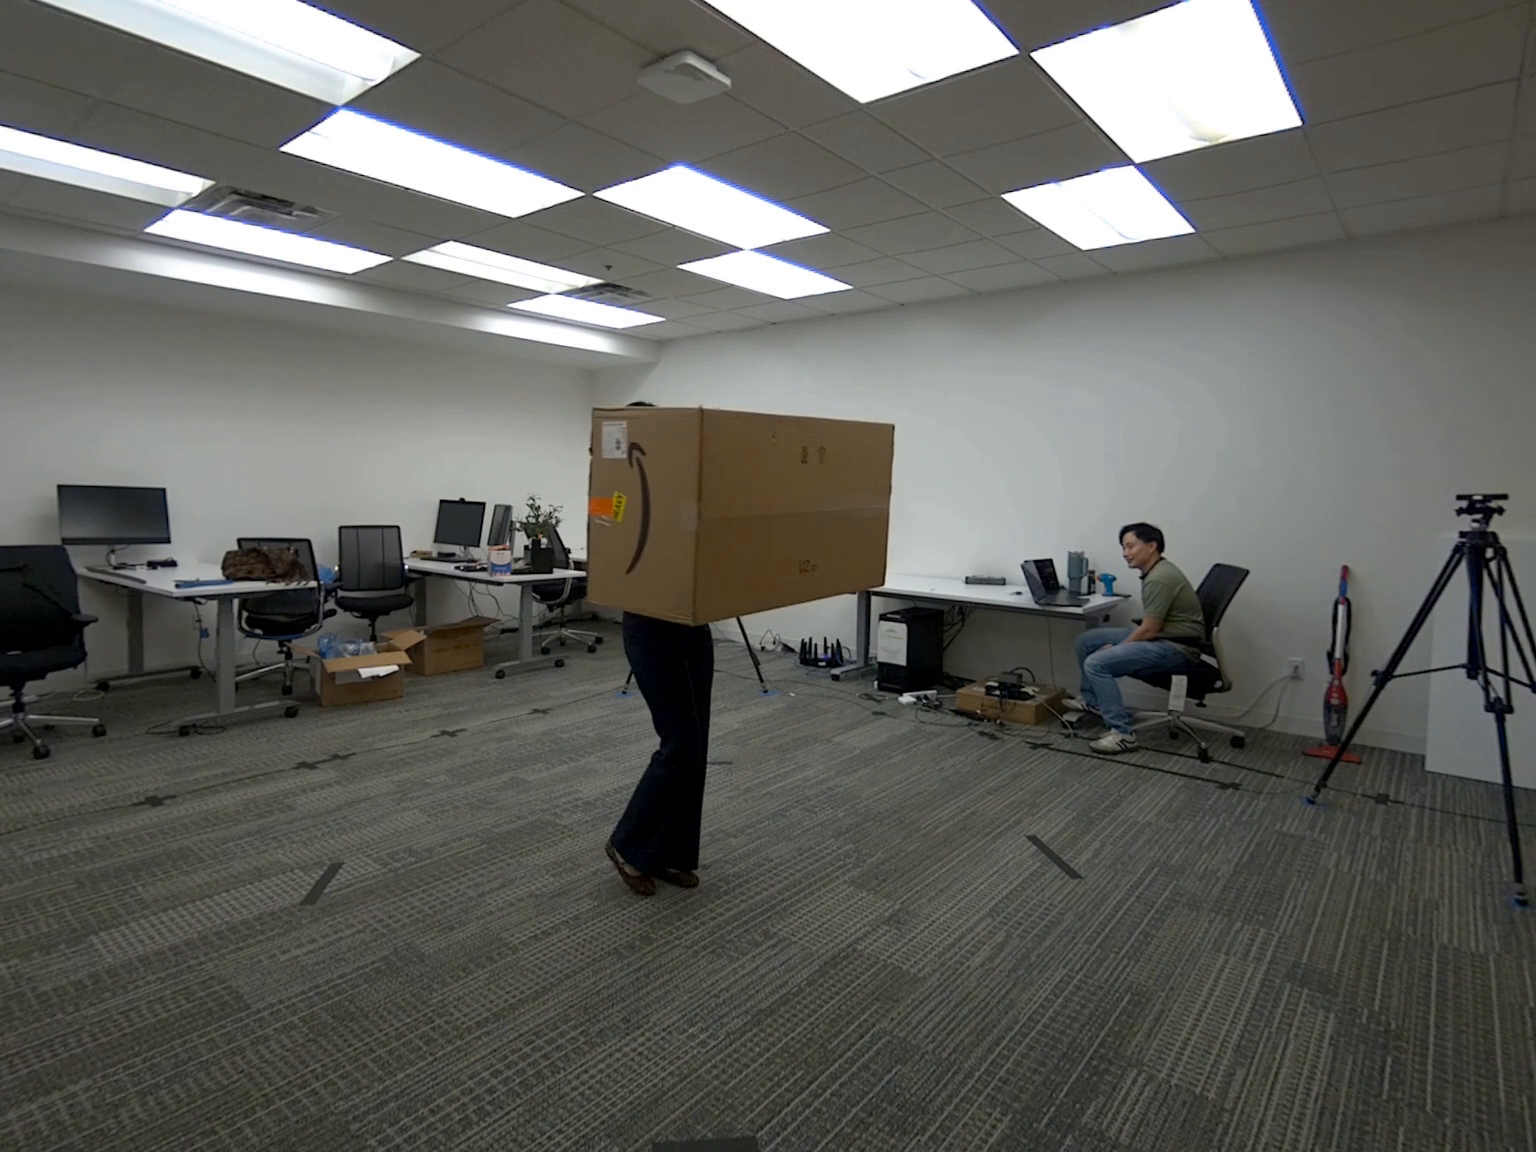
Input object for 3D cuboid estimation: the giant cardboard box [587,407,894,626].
[{"bbox_3d":[-0.059,-0.228,2.718,0.441,0.574,0.997,8,10,38],"label":"giant cardboard box"}]
